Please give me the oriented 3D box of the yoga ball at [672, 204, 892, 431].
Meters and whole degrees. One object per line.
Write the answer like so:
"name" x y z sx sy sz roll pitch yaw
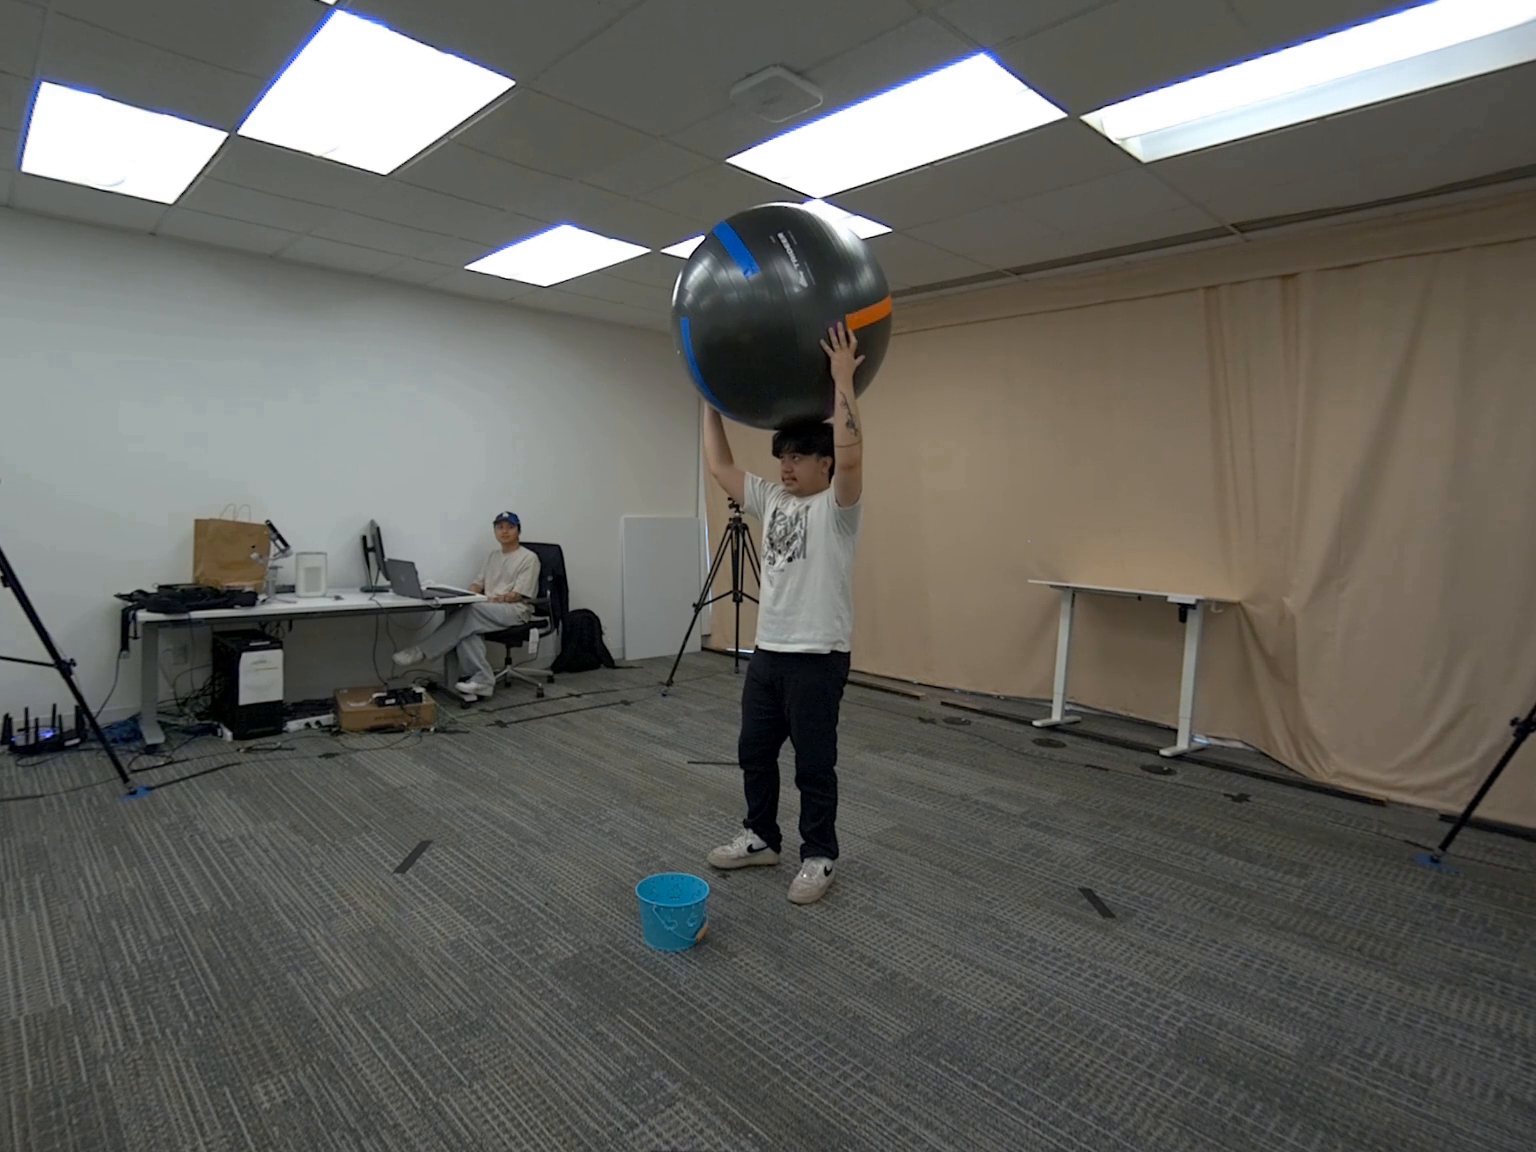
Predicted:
"yoga ball" 0.036 -0.877 2.914 0.757 0.756 0.760 1 4 -1
